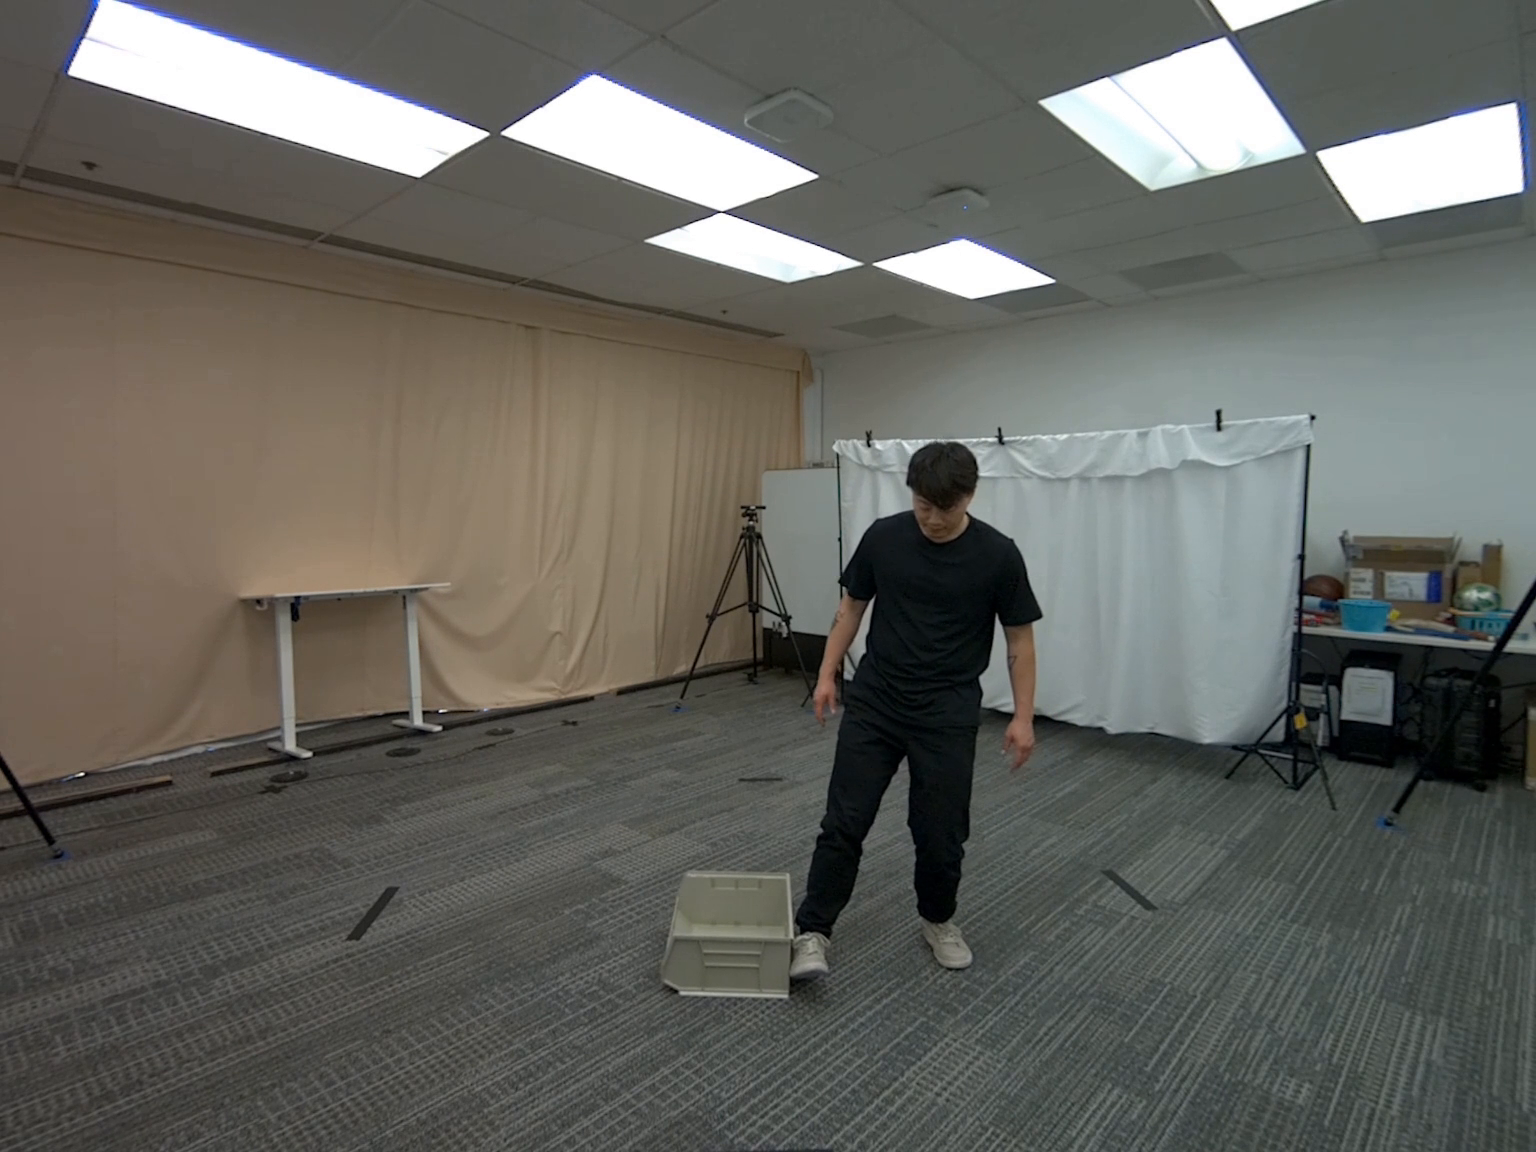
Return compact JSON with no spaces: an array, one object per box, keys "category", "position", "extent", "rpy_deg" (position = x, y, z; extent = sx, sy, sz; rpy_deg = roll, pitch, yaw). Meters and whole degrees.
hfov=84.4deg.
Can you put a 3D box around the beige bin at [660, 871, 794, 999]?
[{"category":"beige bin","position":[-0.116,1.095,2.582],"extent":[0.378,0.188,0.422],"rpy_deg":[0,4,1]}]
